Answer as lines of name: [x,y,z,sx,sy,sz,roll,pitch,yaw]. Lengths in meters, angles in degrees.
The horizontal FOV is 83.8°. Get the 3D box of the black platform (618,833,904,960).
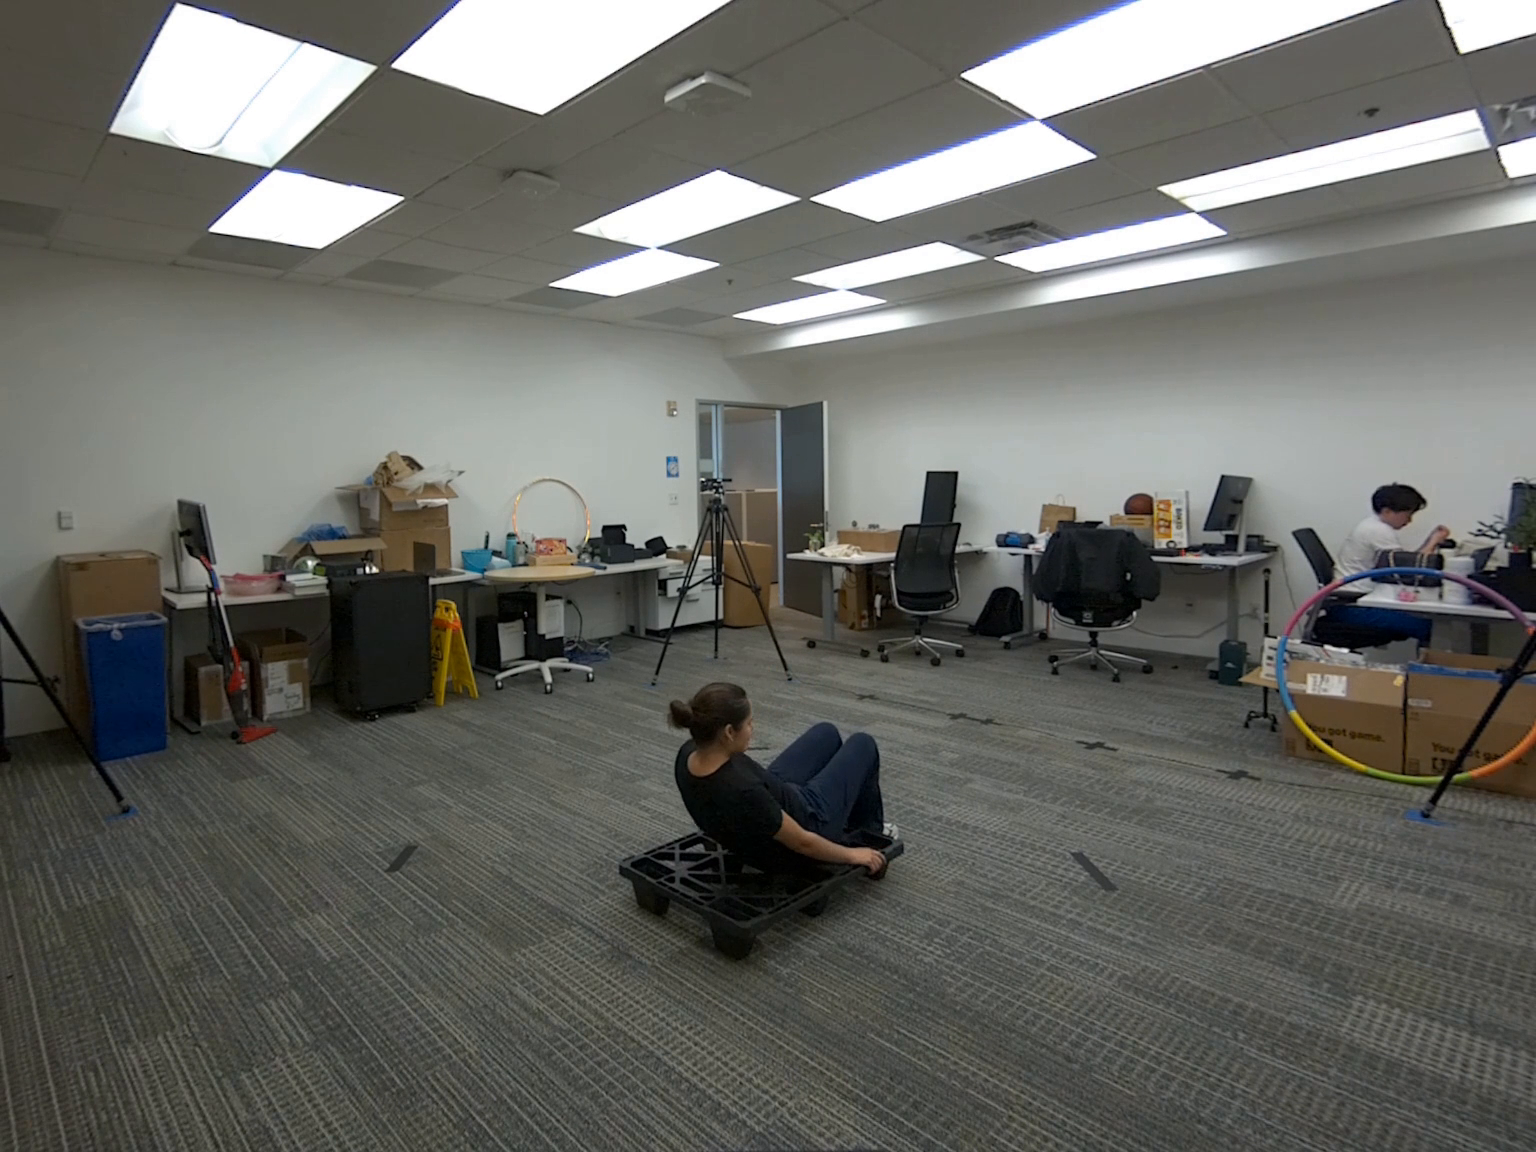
black platform: [-0.008,1.003,2.903,0.624,0.142,0.784,6,9,43]
